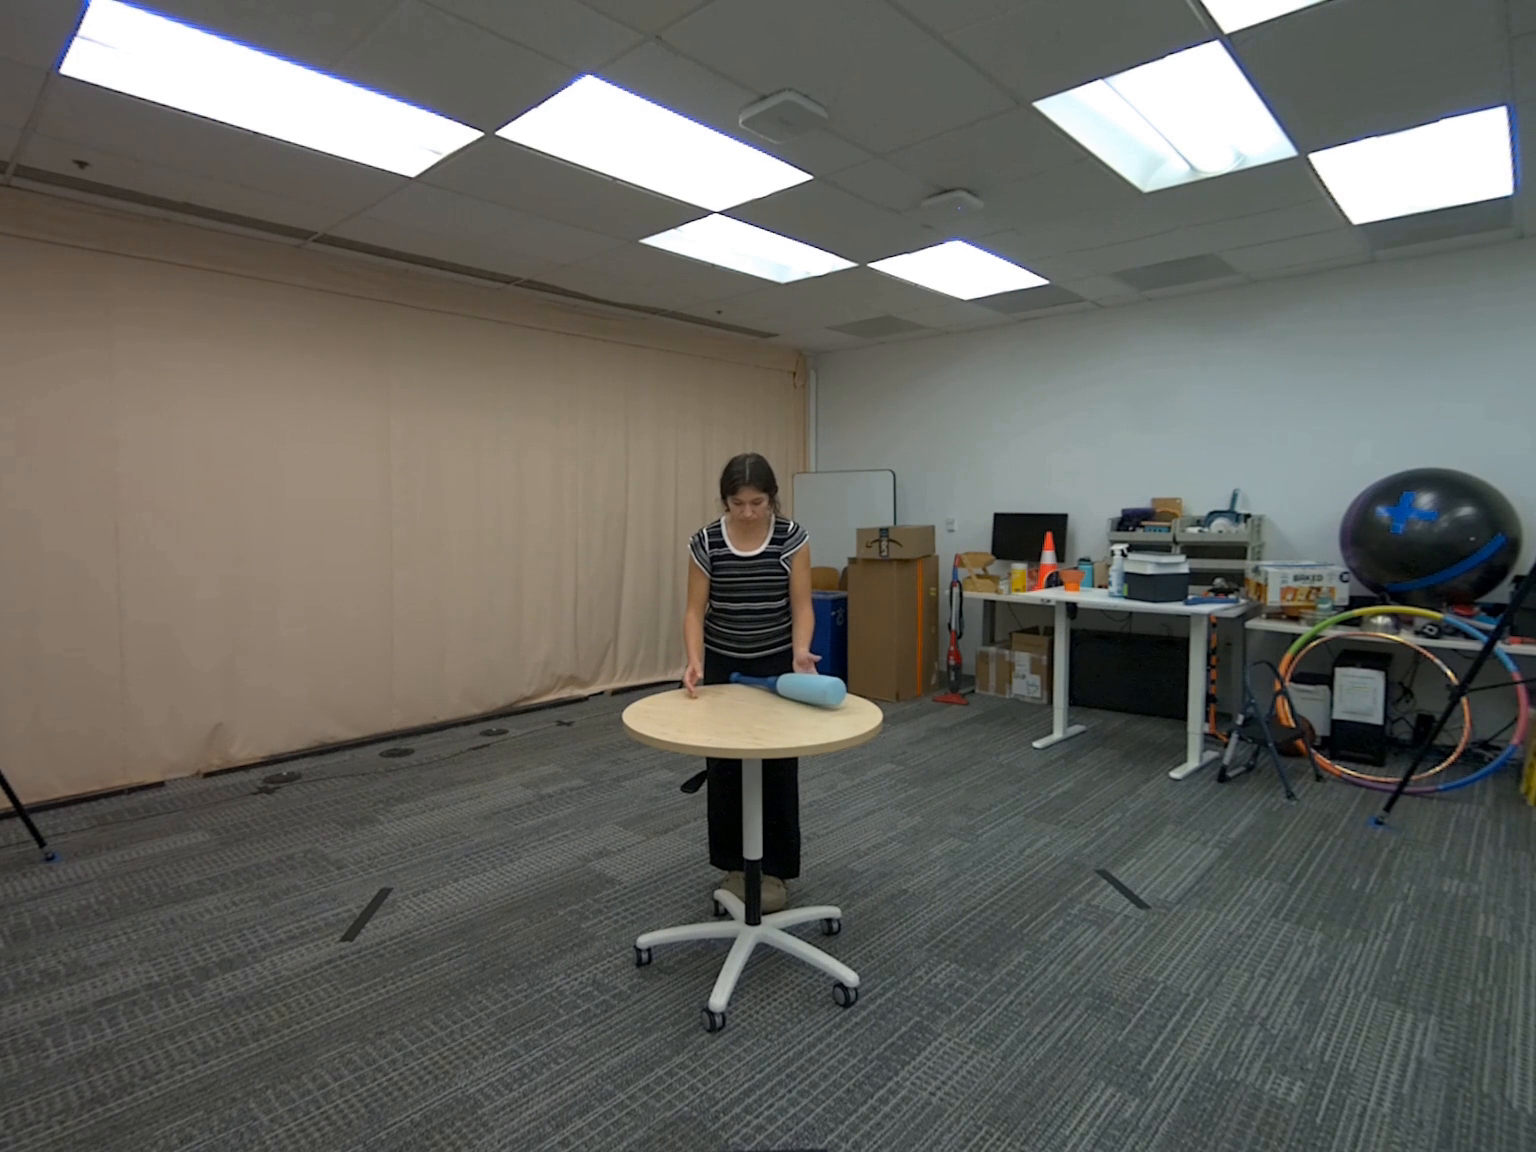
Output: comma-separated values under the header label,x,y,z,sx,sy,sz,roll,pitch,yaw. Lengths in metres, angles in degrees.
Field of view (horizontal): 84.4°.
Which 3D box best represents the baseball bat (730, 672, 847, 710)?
label,x,y,z,sx,sy,sz,roll,pitch,yaw
baseball bat,0.037,0.347,2.705,0.086,0.089,0.558,-2,1,-33
